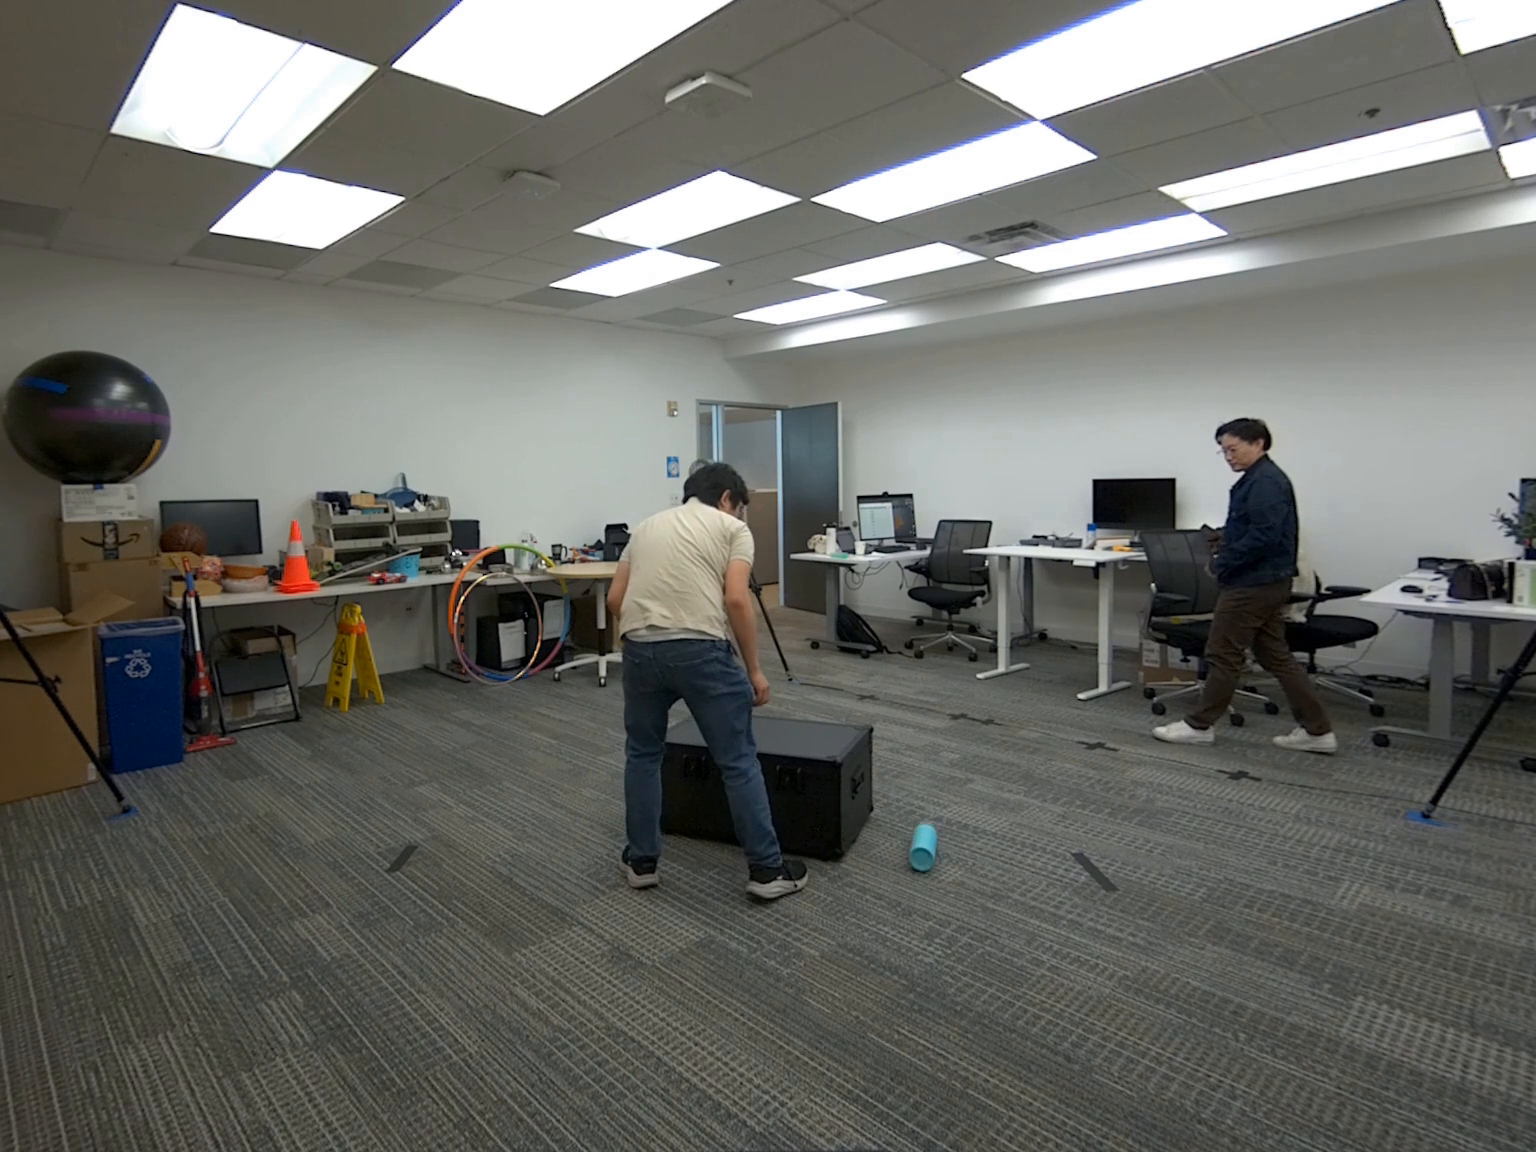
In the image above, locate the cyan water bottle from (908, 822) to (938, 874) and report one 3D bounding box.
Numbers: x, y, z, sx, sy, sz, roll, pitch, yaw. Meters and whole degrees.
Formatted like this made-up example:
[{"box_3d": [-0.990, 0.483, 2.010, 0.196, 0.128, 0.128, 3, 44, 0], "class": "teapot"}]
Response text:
[{"box_3d": [0.562, 0.973, 3.130, 0.094, 0.092, 0.278, 1, 3, 19], "class": "cyan water bottle"}]
